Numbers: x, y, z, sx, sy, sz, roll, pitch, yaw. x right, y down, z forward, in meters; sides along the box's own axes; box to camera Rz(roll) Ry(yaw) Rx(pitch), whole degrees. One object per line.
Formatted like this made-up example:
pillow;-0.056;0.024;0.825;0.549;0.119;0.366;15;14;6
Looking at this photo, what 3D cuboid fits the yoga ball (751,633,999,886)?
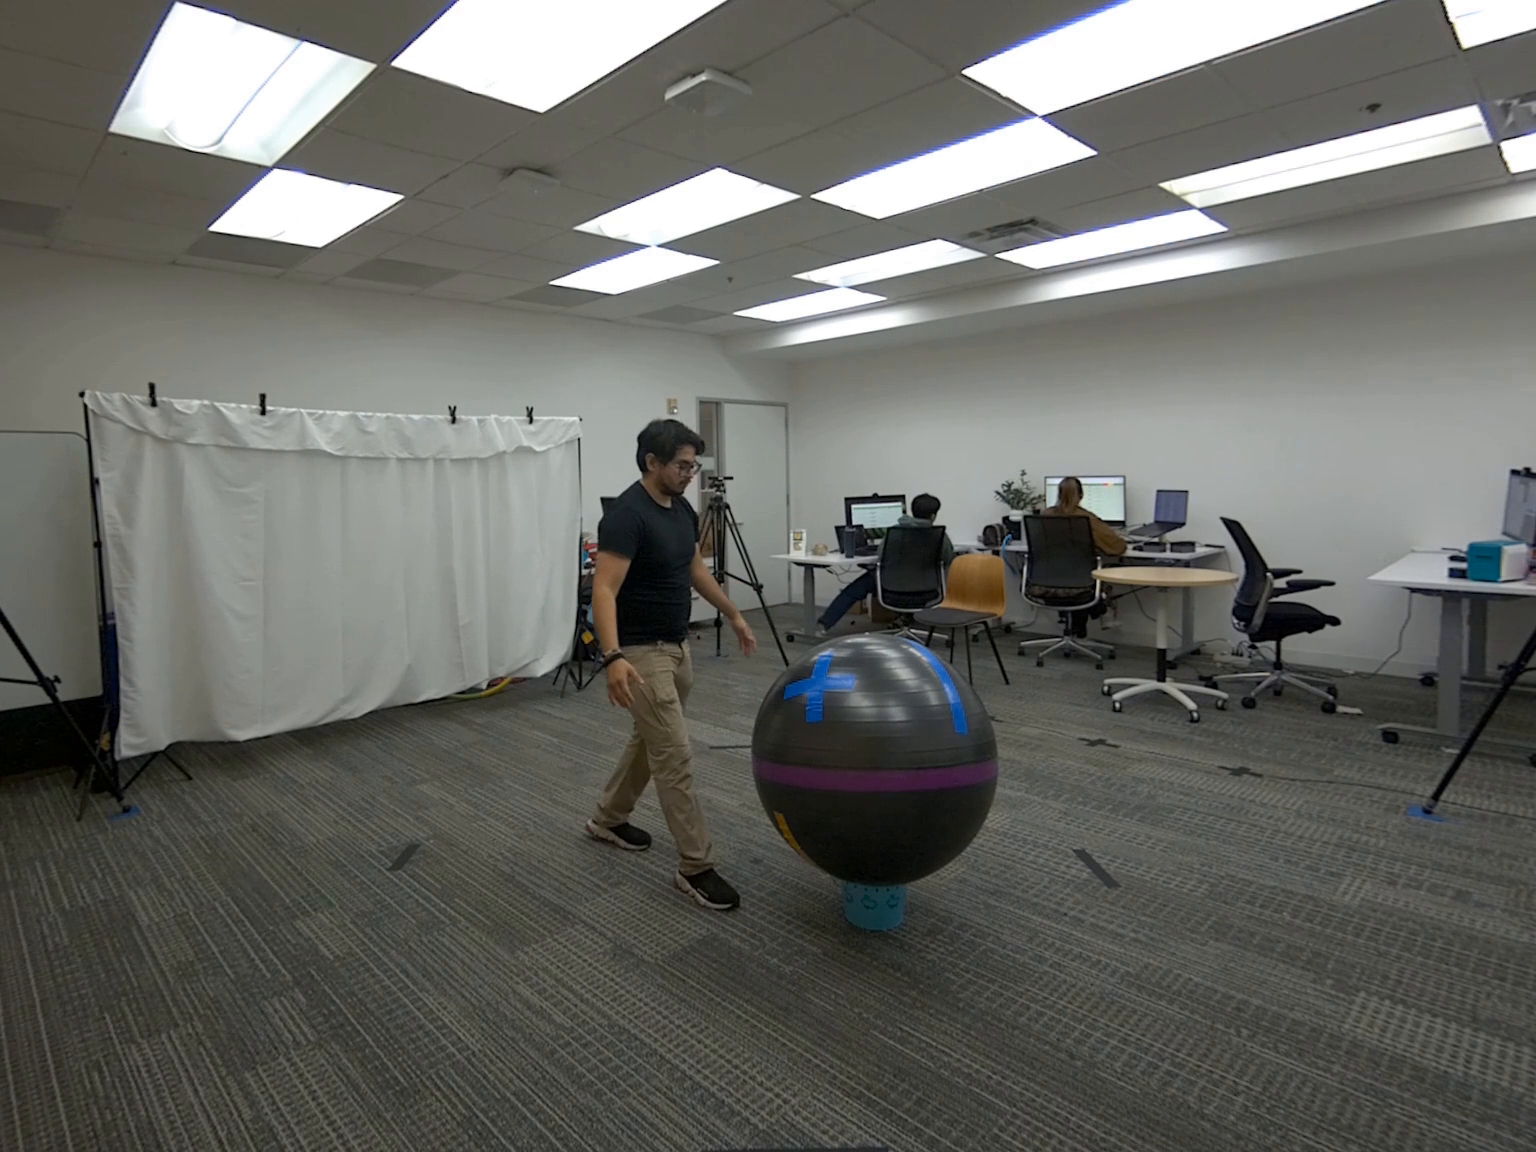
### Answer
yoga ball;0.336;0.569;2.682;0.757;0.755;0.762;-1;5;-2
